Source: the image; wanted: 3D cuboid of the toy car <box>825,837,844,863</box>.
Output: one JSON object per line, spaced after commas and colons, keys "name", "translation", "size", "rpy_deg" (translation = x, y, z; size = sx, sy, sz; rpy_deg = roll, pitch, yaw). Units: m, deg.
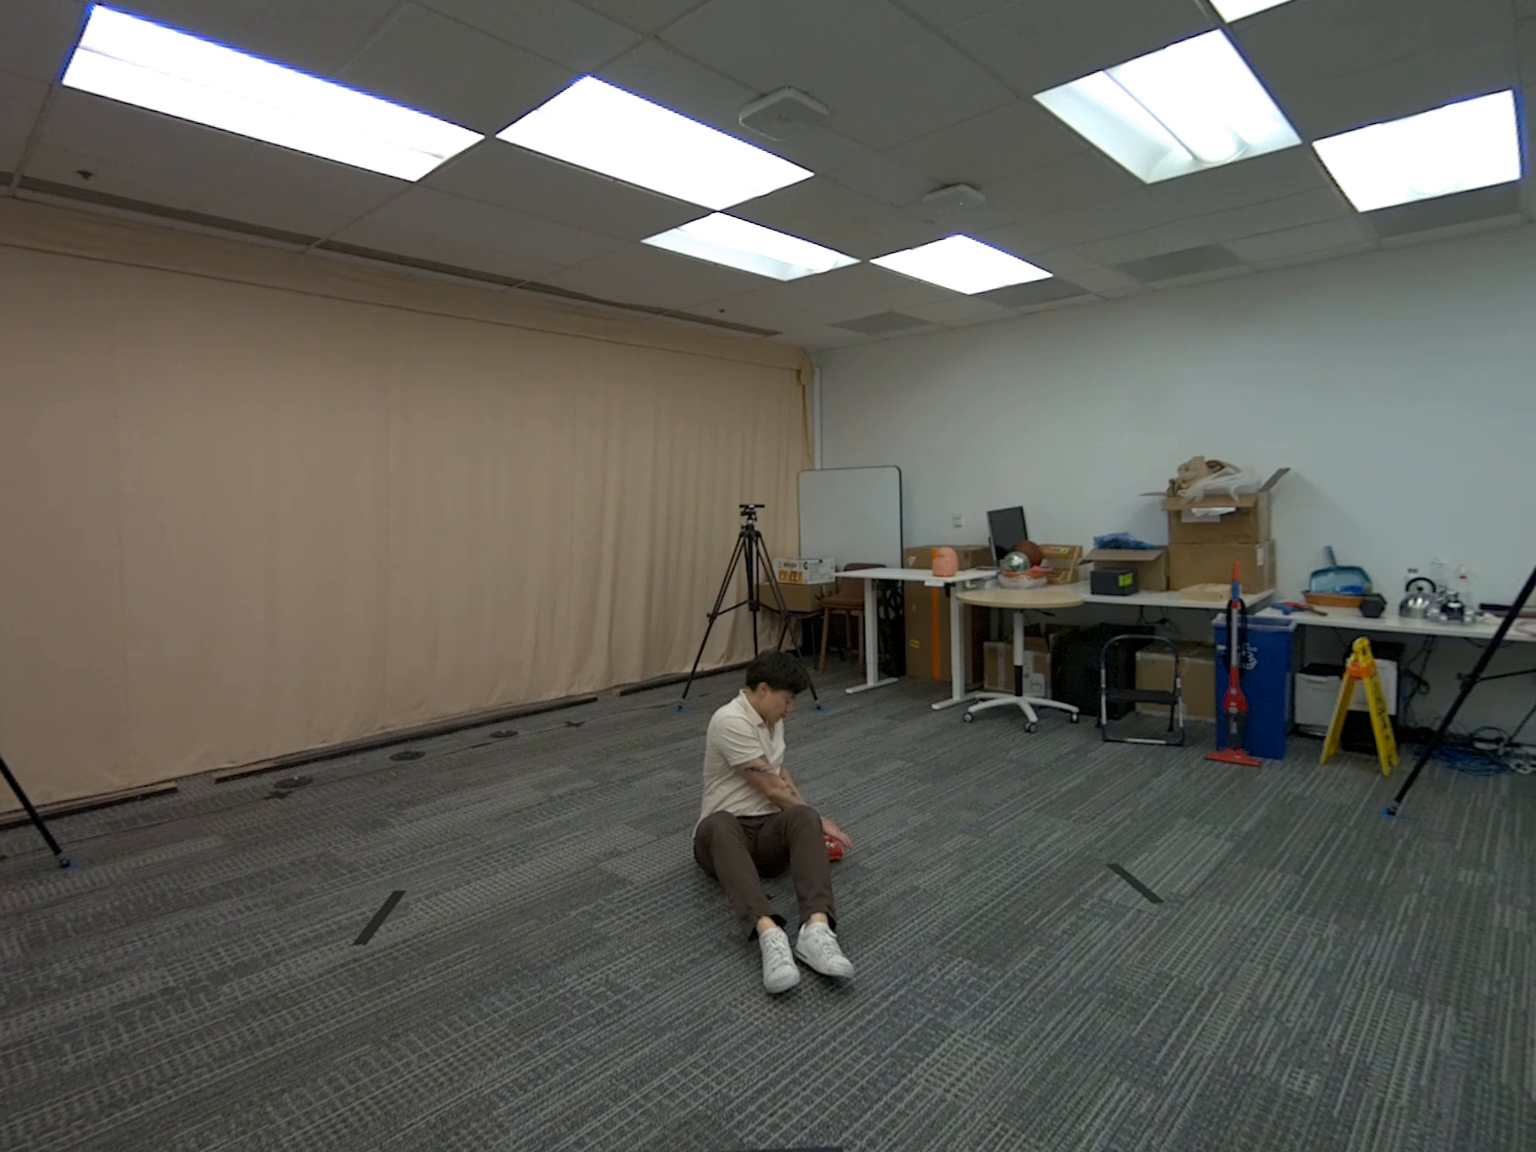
{"name": "toy car", "translation": [0.215, 1.073, 3.331], "size": [0.128, 0.083, 0.257], "rpy_deg": [1, -6, -14]}
